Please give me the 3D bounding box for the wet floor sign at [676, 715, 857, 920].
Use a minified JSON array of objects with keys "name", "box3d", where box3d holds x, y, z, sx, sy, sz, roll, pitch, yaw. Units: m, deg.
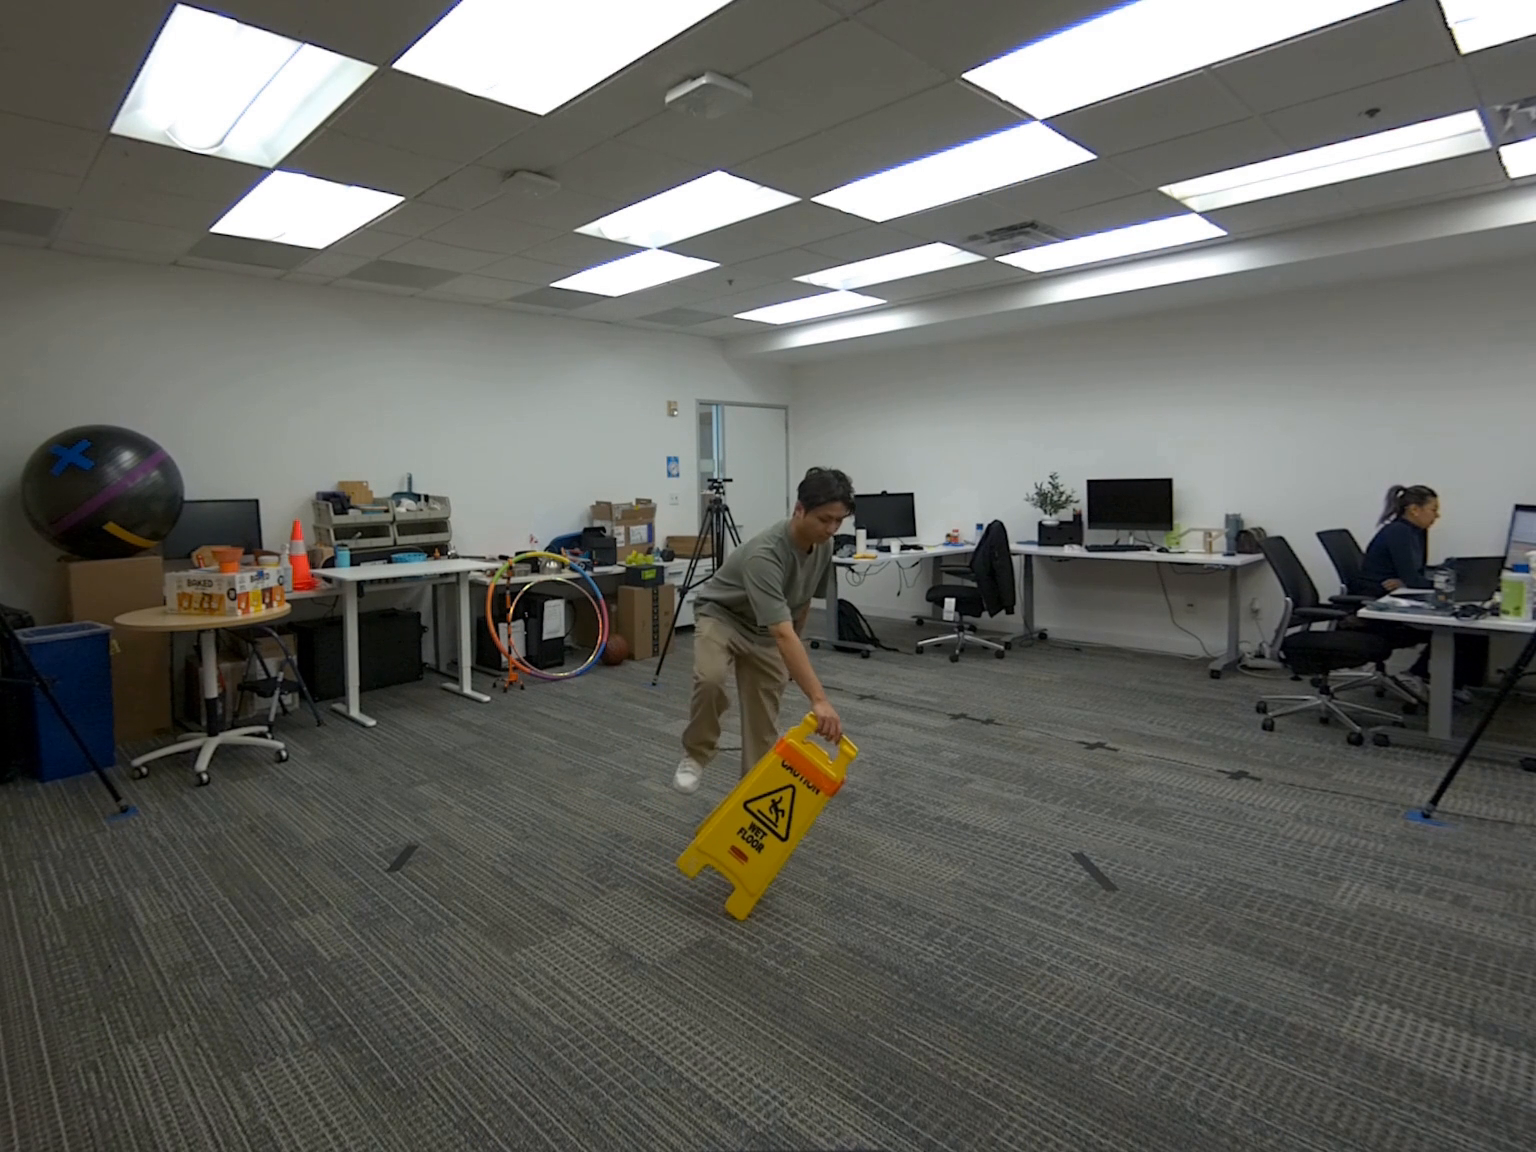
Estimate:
[{"name":"wet floor sign","box3d":[0.018,0.748,2.784,0.285,0.644,0.287,35,11,6]}]
